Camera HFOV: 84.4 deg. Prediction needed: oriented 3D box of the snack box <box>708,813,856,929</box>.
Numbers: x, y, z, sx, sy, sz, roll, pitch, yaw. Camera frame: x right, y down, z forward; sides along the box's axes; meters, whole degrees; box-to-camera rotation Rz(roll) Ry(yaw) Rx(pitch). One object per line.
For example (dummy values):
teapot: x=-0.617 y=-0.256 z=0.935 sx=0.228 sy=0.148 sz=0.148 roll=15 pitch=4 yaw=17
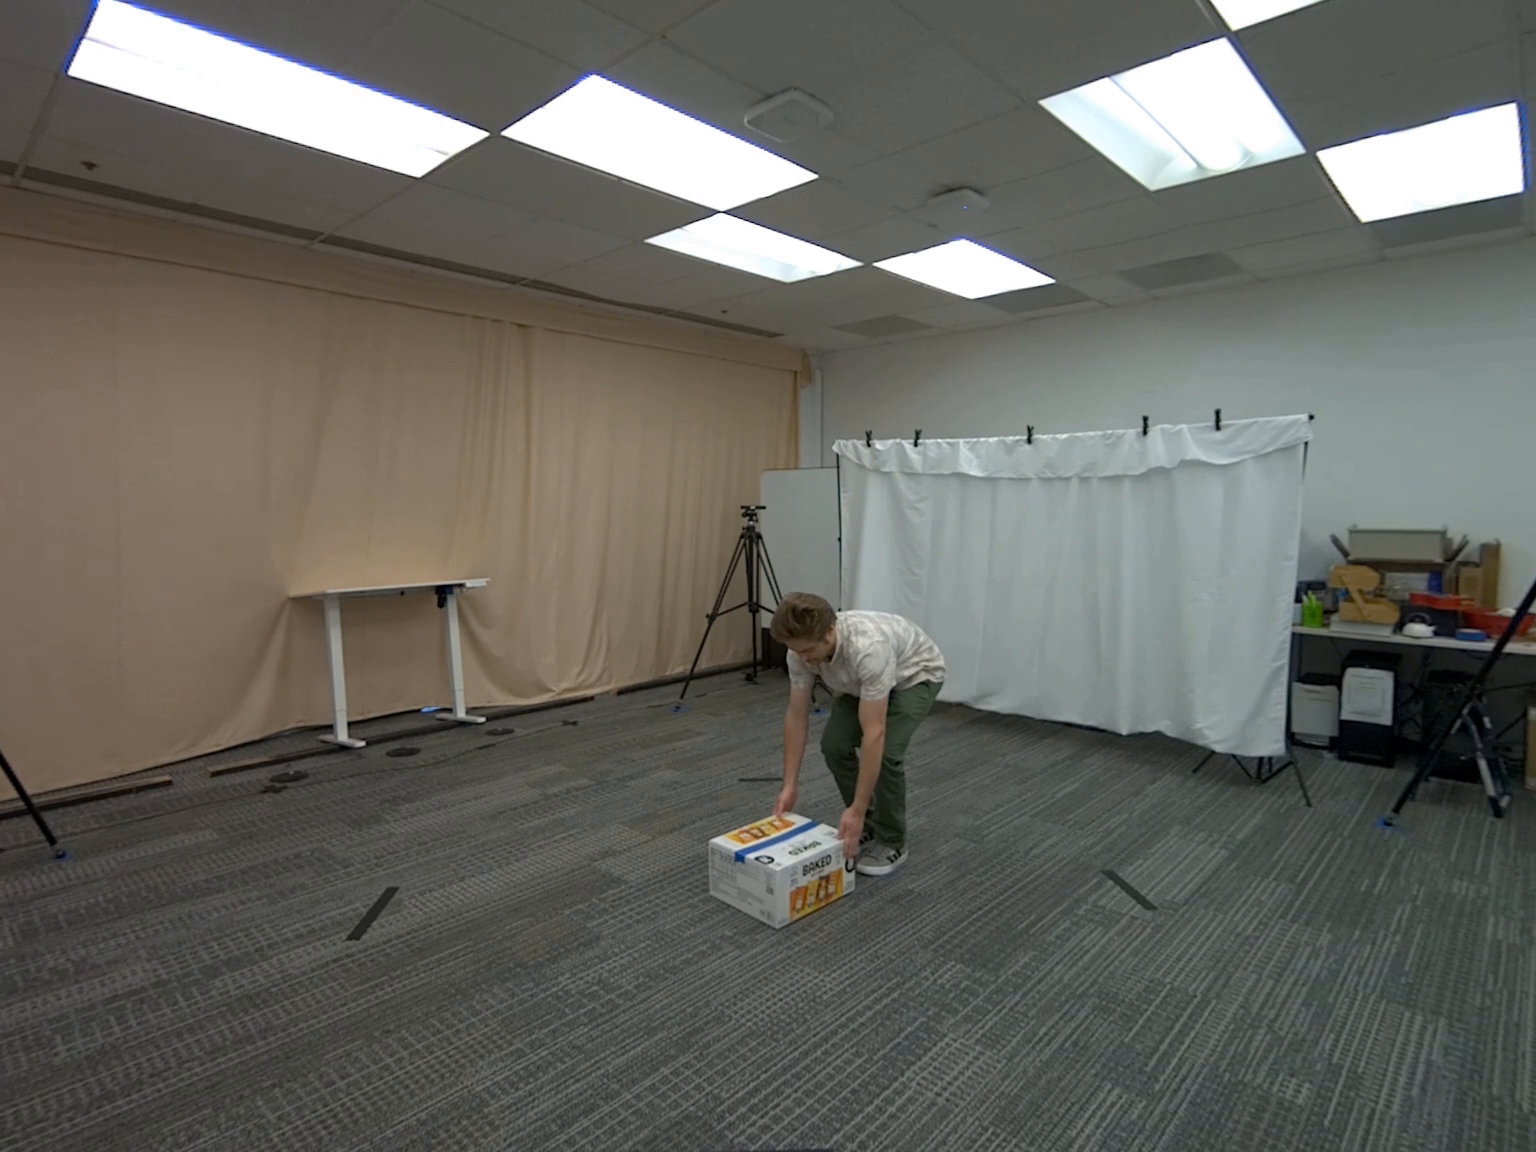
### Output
snack box: x=0.053 y=1.037 z=3.006 sx=0.393 sy=0.205 sz=0.351 roll=-6 pitch=6 yaw=-43
